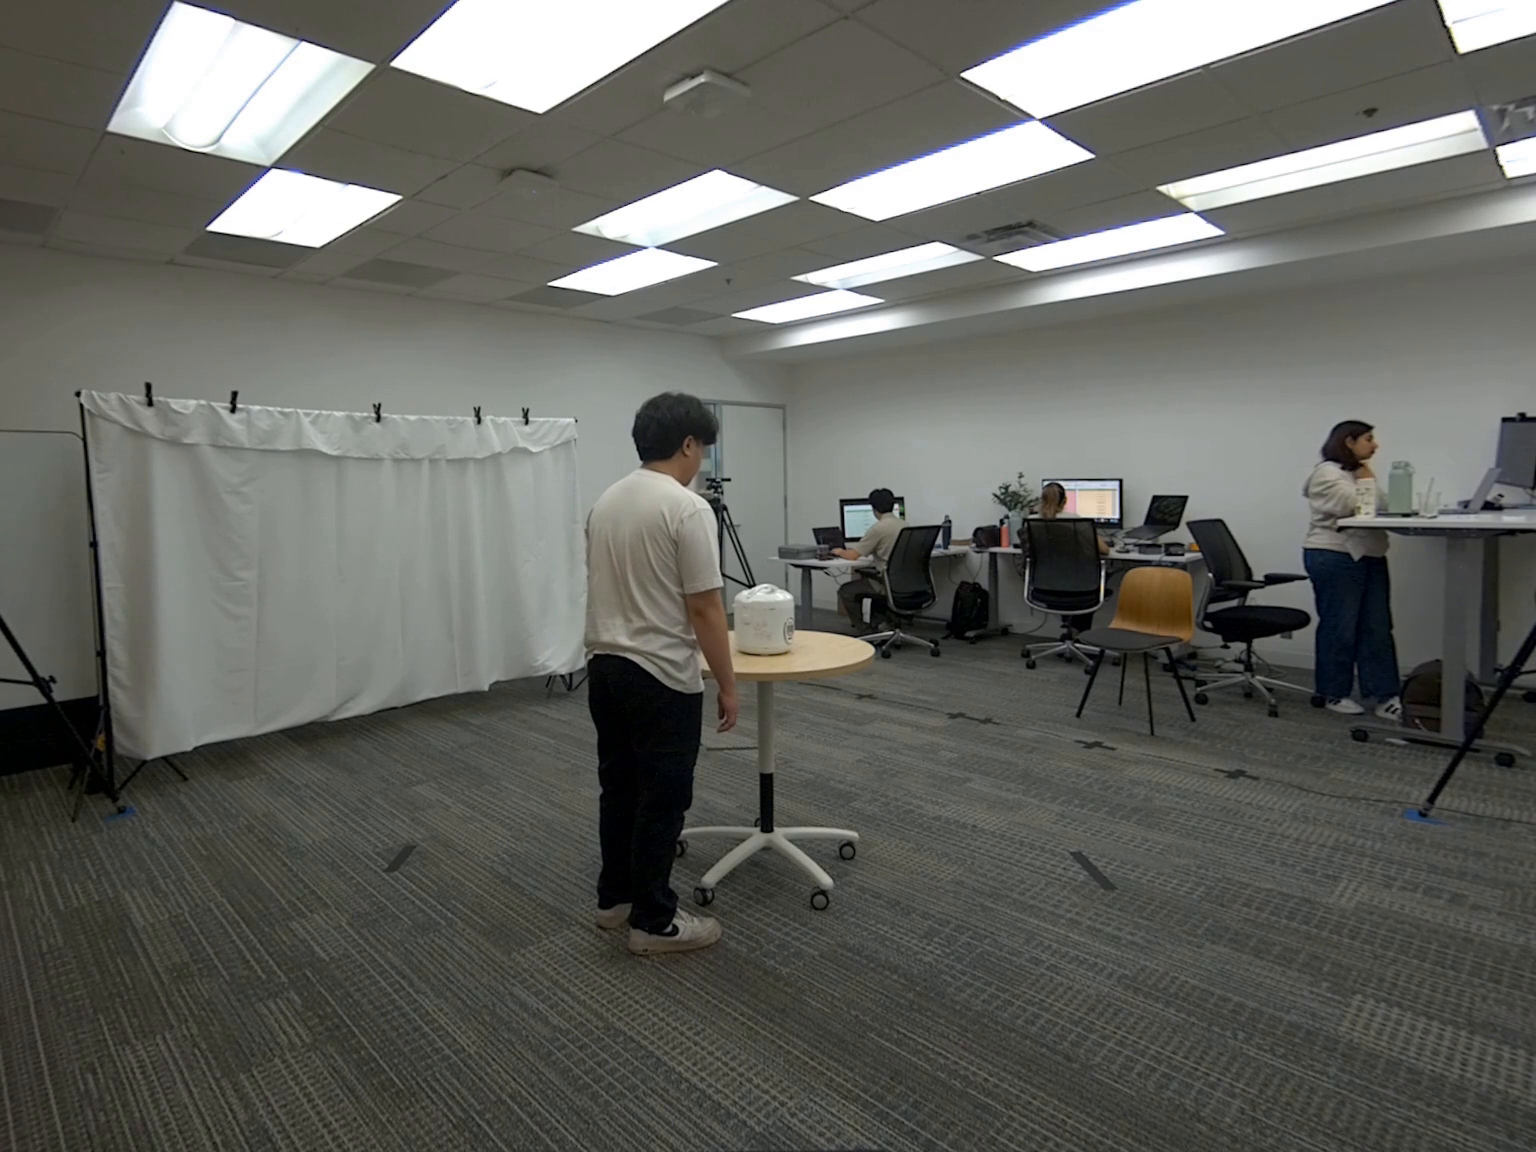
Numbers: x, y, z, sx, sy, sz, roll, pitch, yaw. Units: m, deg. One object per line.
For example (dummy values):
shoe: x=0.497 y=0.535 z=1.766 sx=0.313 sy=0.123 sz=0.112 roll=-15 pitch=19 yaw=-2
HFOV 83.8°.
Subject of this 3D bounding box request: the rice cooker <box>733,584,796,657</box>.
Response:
rice cooker: x=-0.008 y=0.141 z=2.959 sx=0.224 sy=0.232 sz=0.215 roll=2 pitch=5 yaw=37
